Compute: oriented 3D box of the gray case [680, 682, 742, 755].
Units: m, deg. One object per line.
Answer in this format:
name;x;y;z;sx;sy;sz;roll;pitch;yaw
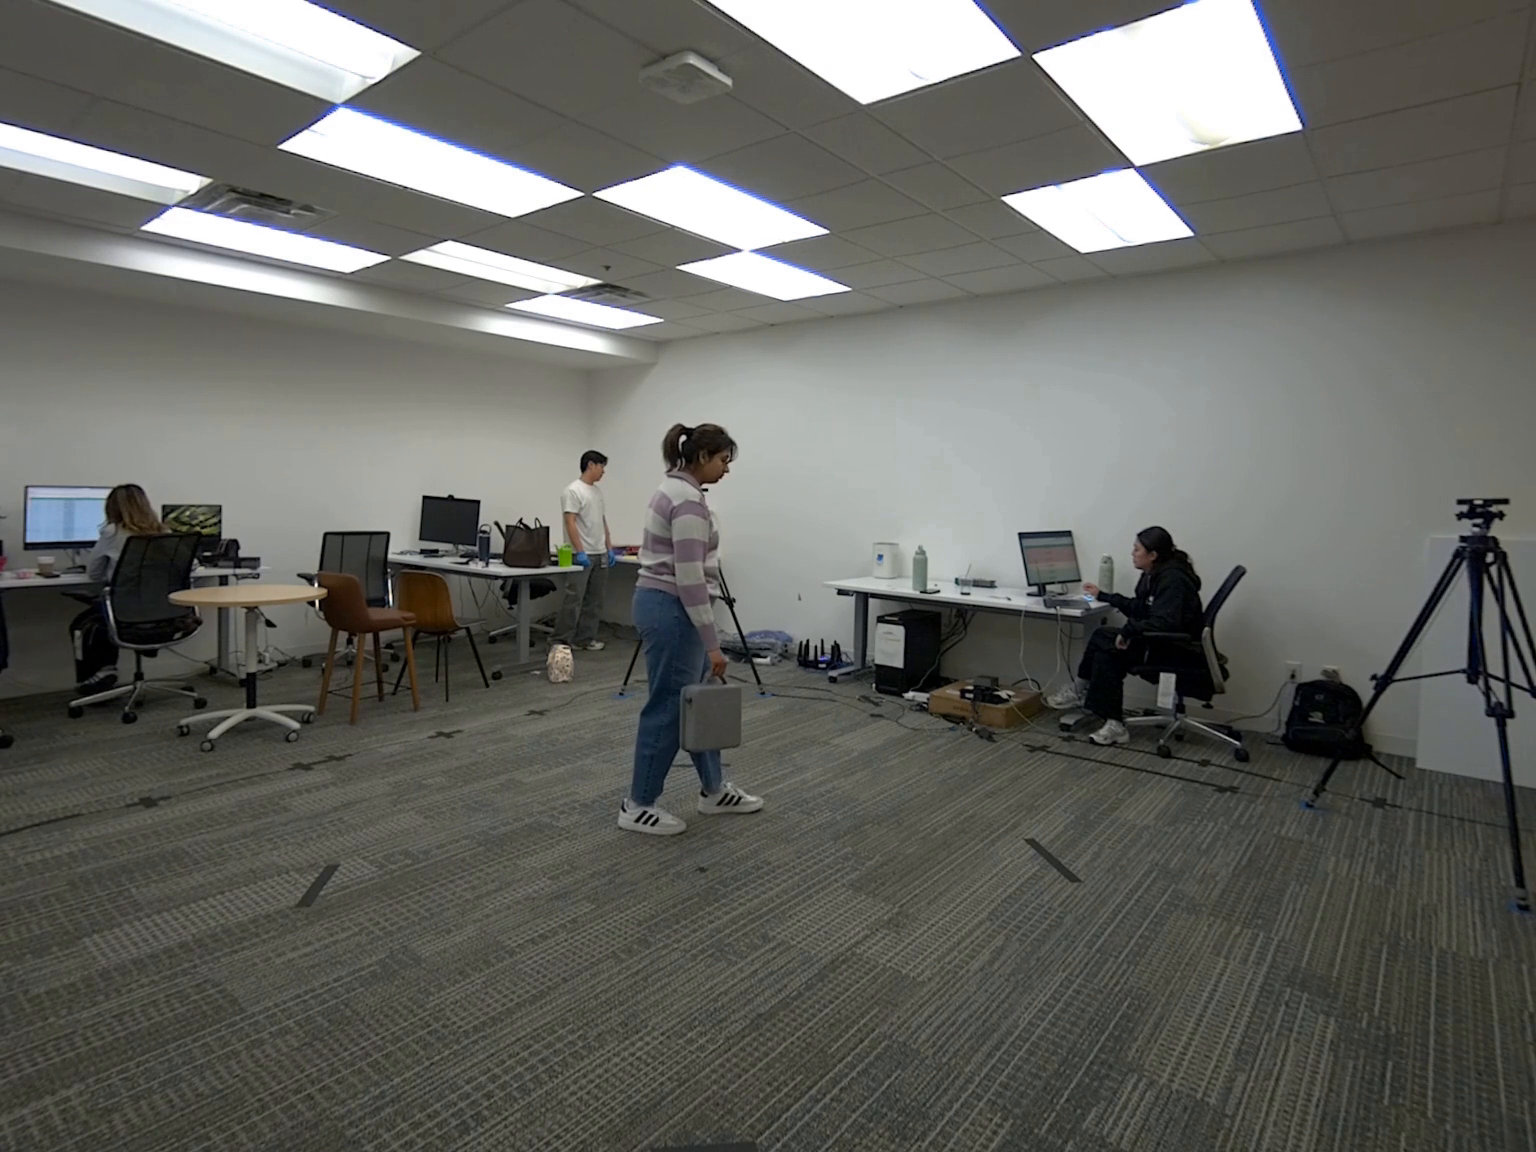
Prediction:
gray case;-0.229;0.540;3.310;0.248;0.262;0.107;3;-5;-42
